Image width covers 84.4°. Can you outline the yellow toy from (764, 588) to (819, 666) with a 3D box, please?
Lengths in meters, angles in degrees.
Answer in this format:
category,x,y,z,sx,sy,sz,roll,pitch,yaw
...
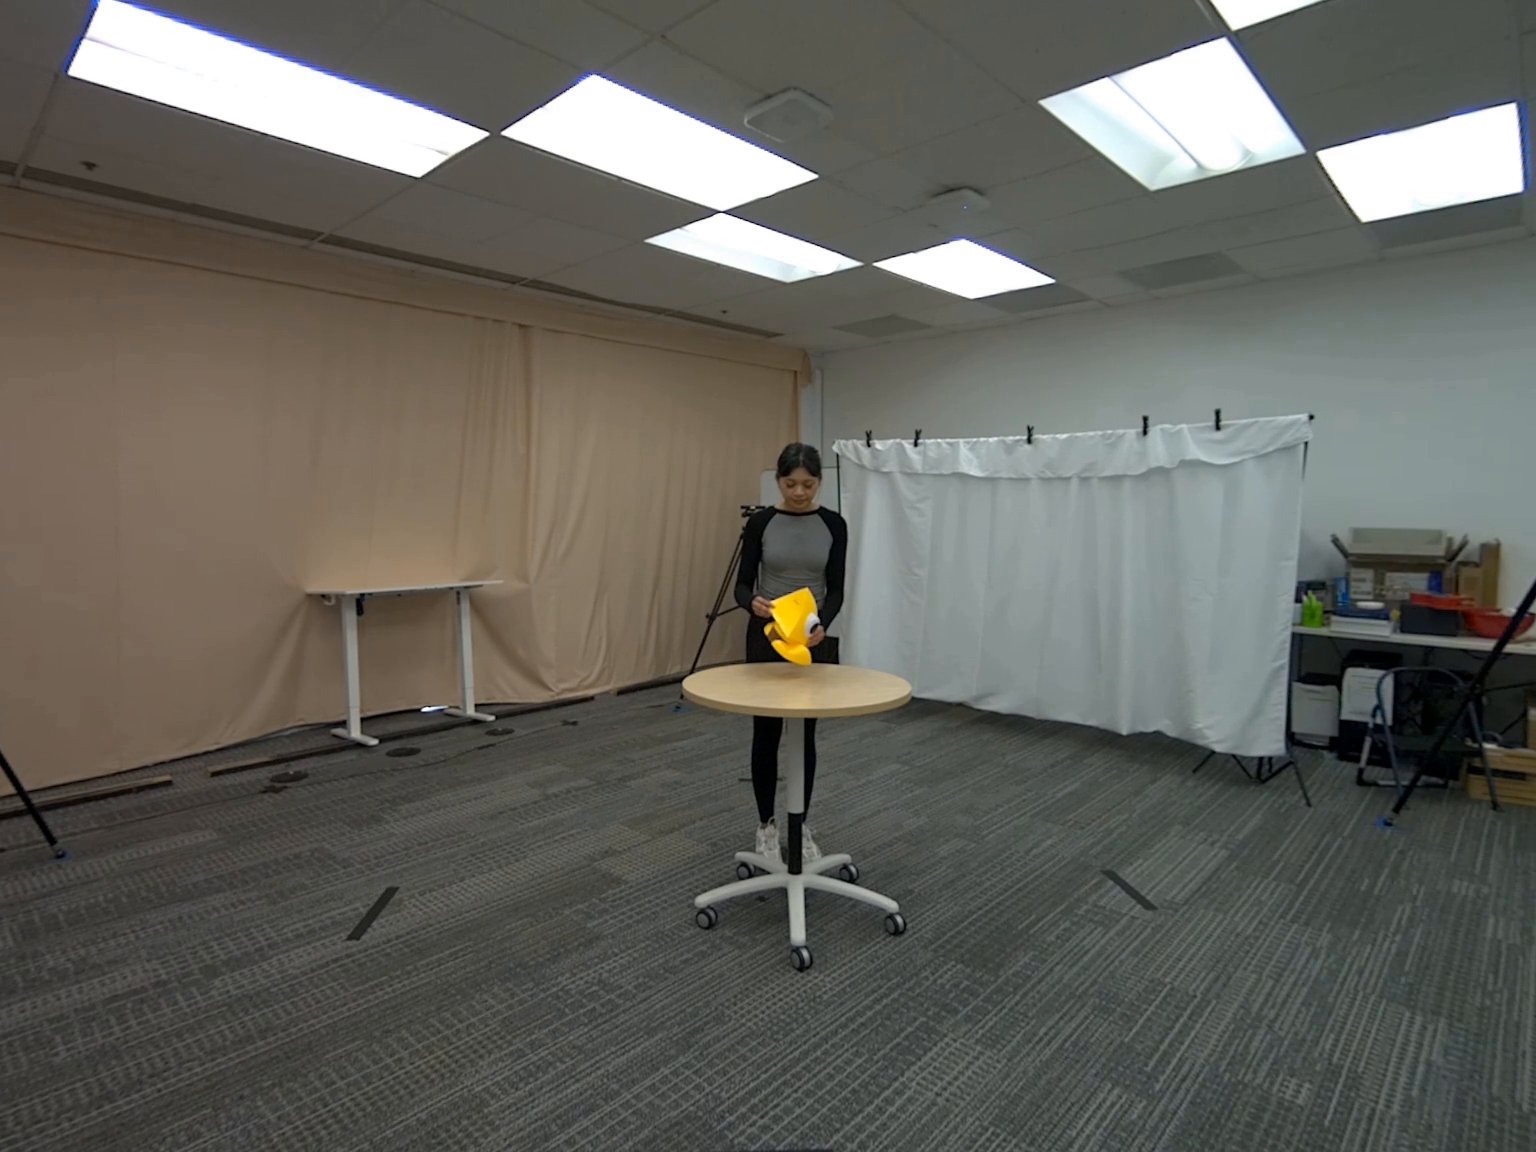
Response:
category,x,y,z,sx,sy,sz,roll,pitch,yaw
yellow toy,0.117,0.152,2.921,0.187,0.231,0.211,23,20,-32
